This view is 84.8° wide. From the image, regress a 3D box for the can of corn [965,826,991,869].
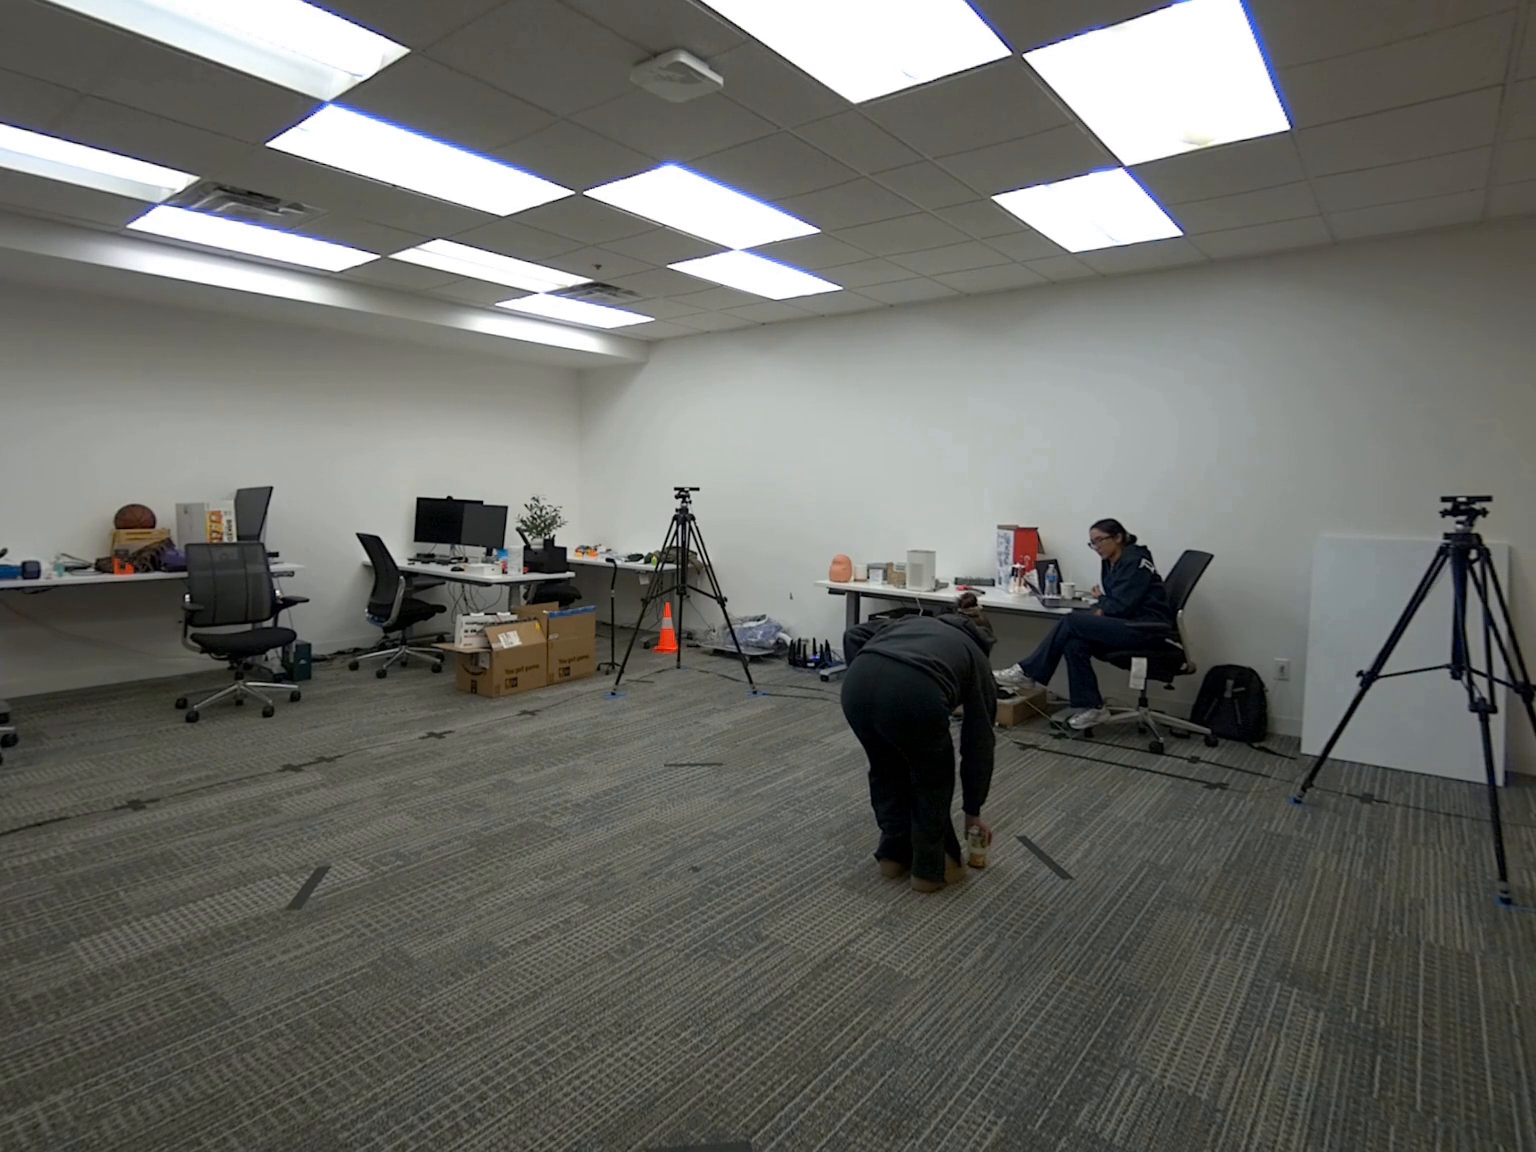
[{"bbox_3d":[0.794,1.005,3.189,0.074,0.110,0.075,5,7,-2],"label":"can of corn"}]
